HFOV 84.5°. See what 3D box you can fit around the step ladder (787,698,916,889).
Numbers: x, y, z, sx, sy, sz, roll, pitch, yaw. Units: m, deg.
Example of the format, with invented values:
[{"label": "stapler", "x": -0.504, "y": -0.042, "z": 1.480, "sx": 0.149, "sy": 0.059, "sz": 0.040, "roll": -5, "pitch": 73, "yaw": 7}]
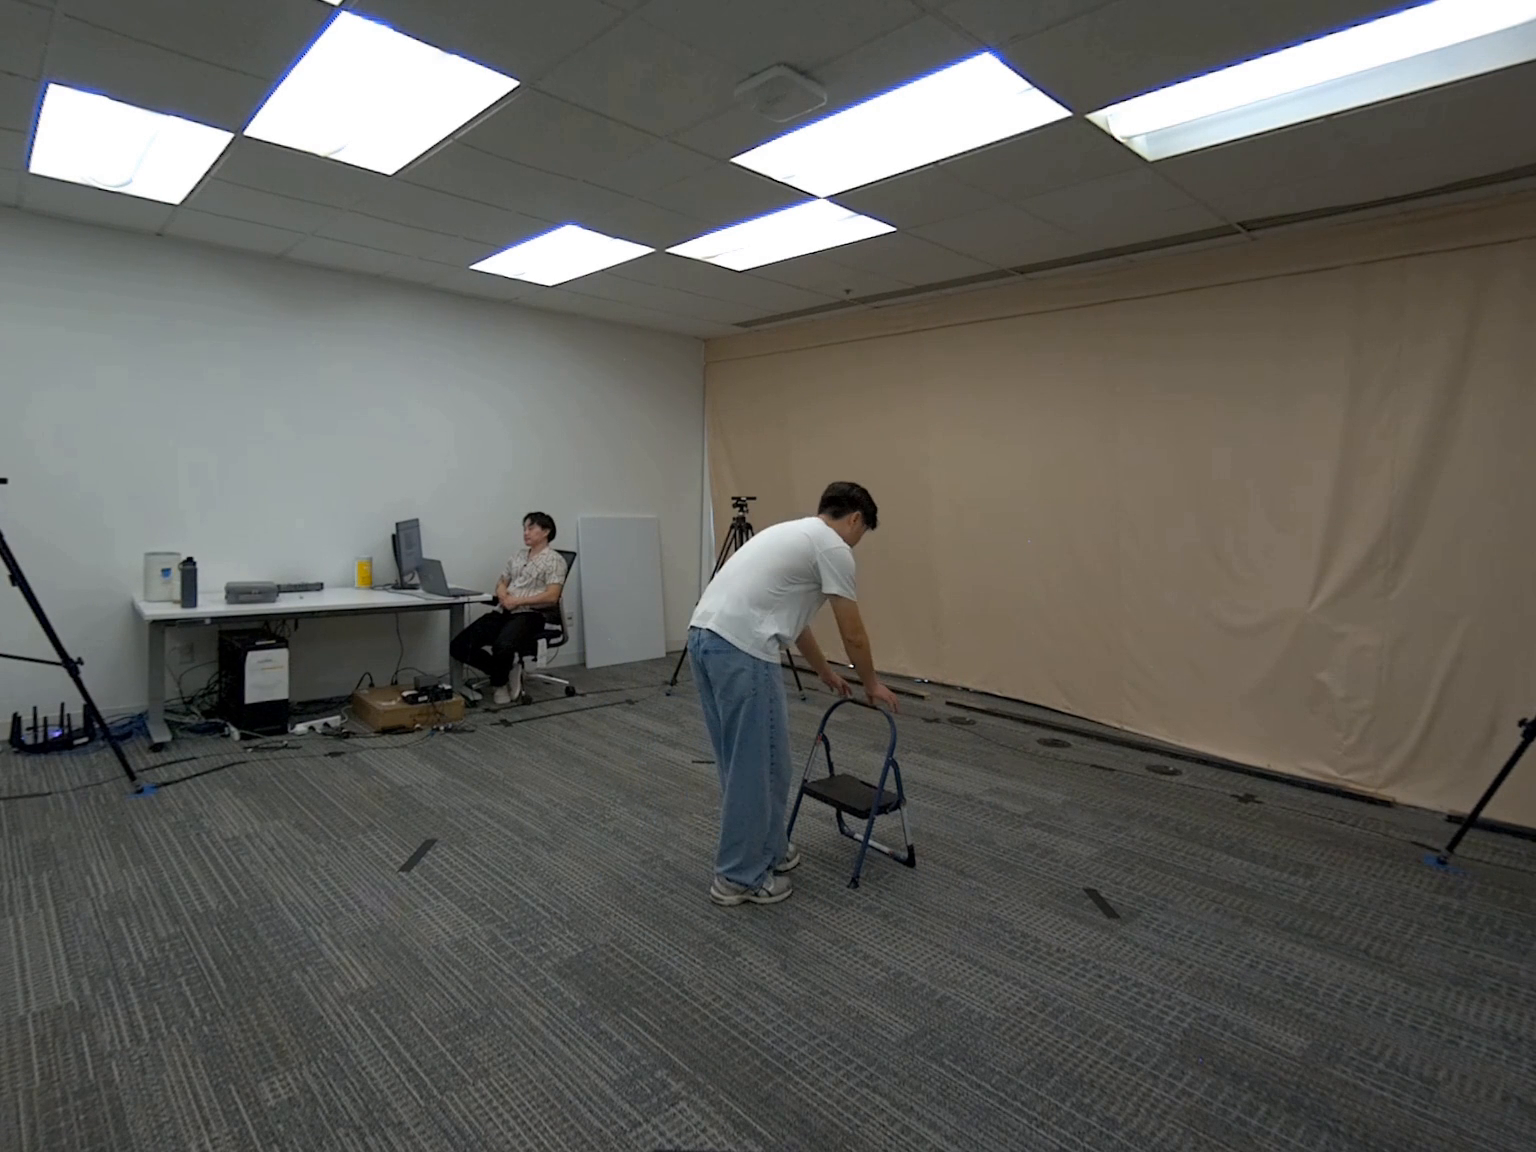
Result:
[{"label": "step ladder", "x": 0.309, "y": 0.797, "z": 3.274, "sx": 0.341, "sy": 0.605, "sz": 0.441, "roll": -1, "pitch": 4, "yaw": -37}]
